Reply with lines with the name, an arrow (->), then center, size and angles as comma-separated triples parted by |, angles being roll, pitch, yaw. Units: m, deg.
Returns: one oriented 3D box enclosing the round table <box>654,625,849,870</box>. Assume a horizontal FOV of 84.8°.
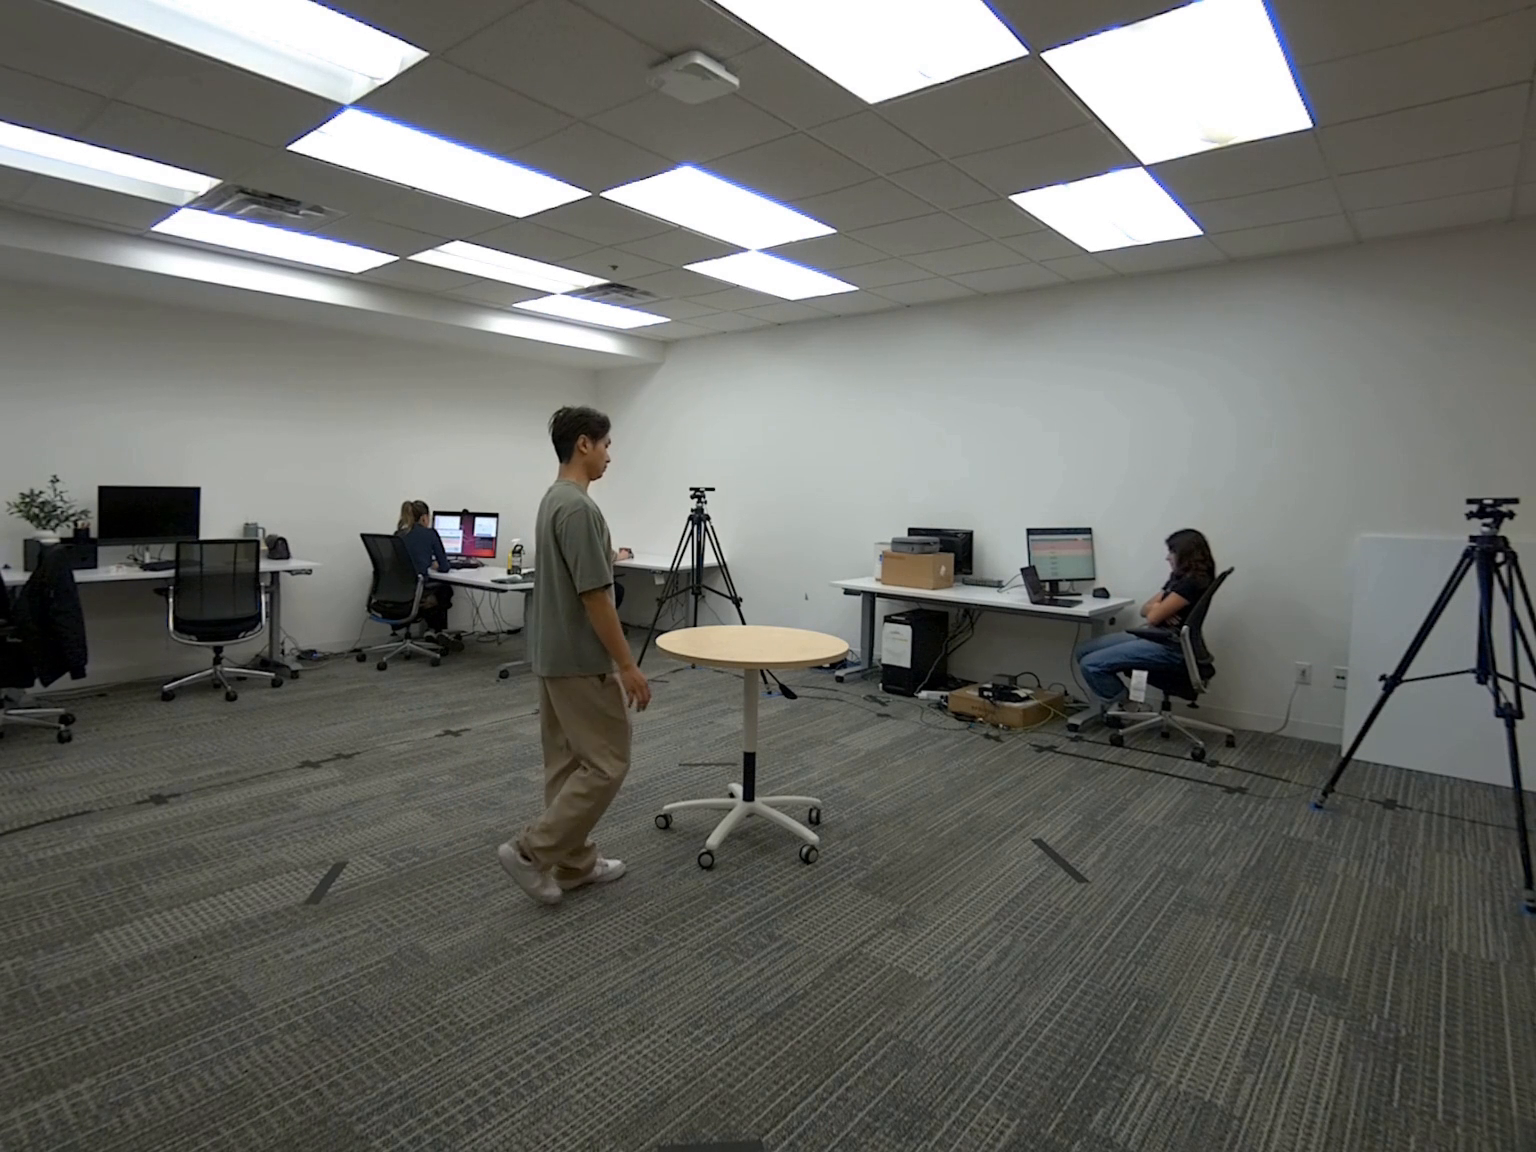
round table -> -0.084, 0.651, 3.414 | 0.763, 0.791, 0.768 | 1, 4, -2
